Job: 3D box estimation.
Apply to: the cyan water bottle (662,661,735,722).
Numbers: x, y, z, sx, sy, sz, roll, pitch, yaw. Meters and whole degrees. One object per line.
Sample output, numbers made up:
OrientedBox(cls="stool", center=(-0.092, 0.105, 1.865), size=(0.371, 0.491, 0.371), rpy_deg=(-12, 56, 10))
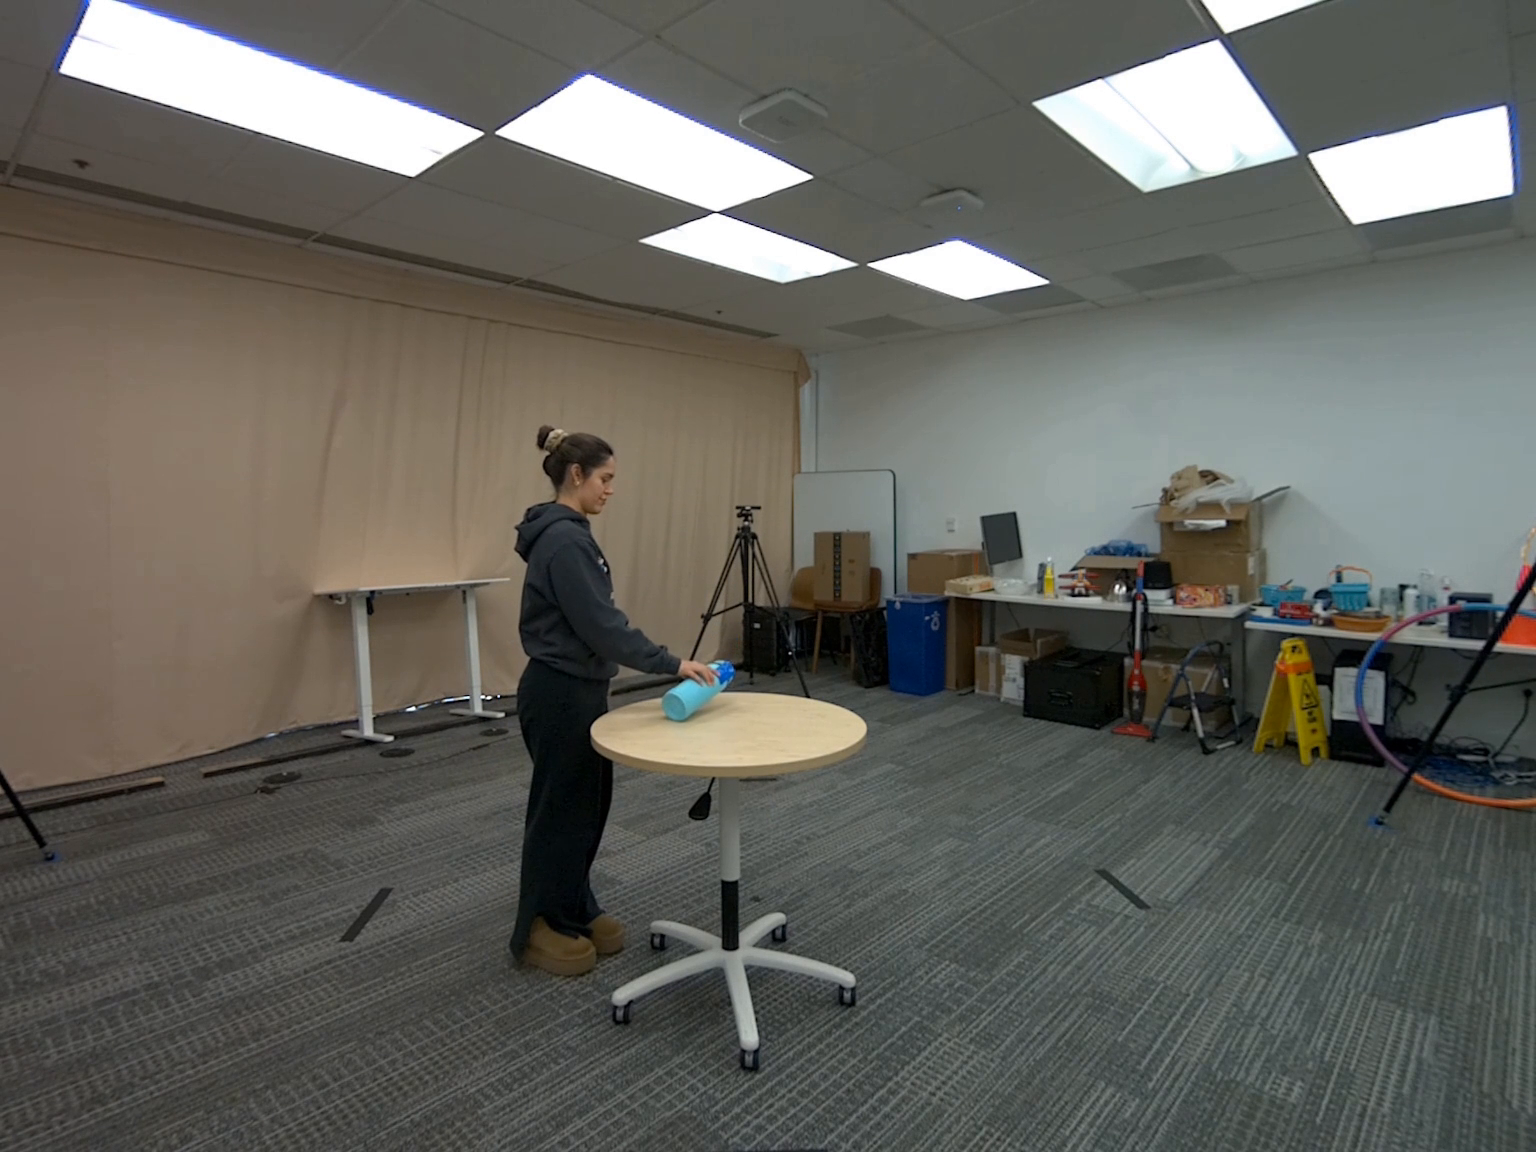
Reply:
OrientedBox(cls="cyan water bottle", center=(-0.185, 0.331, 2.479), size=(0.095, 0.091, 0.278), rpy_deg=(2, 18, 33))
